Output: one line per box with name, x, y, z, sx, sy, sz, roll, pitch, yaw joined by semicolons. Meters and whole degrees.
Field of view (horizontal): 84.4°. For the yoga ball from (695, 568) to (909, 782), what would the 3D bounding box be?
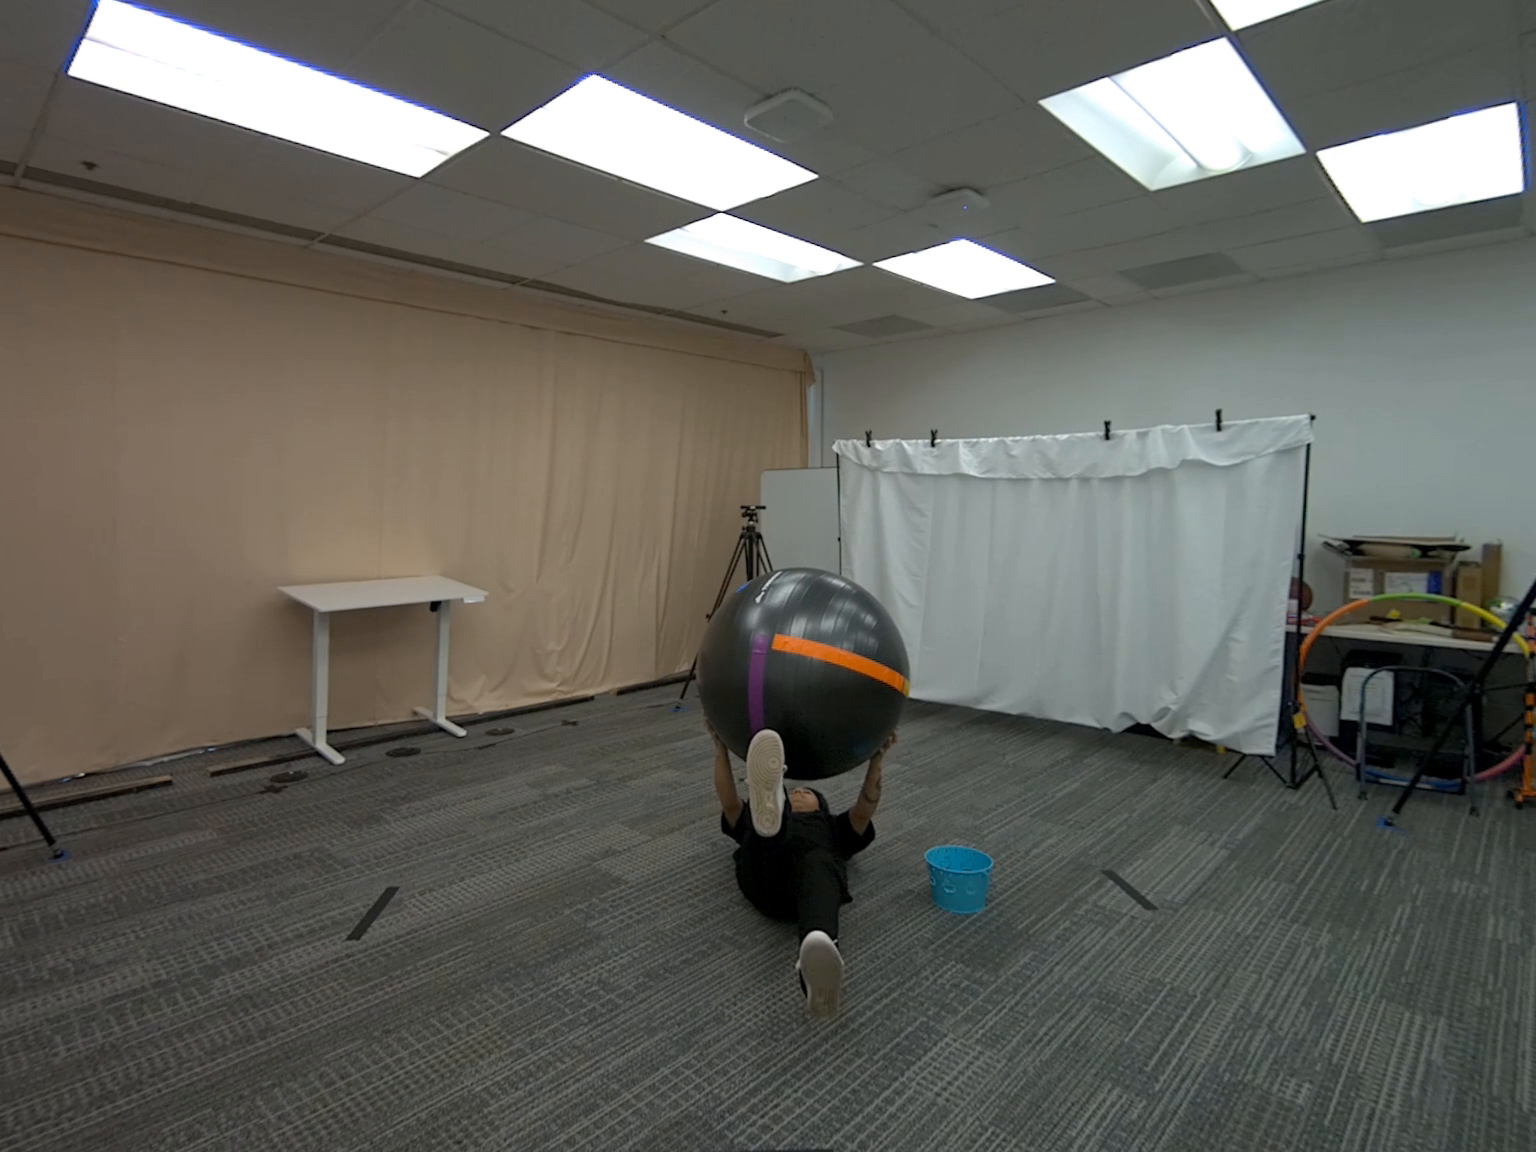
yoga ball;0.122;0.354;3.051;0.757;0.756;0.760;0;4;-2
